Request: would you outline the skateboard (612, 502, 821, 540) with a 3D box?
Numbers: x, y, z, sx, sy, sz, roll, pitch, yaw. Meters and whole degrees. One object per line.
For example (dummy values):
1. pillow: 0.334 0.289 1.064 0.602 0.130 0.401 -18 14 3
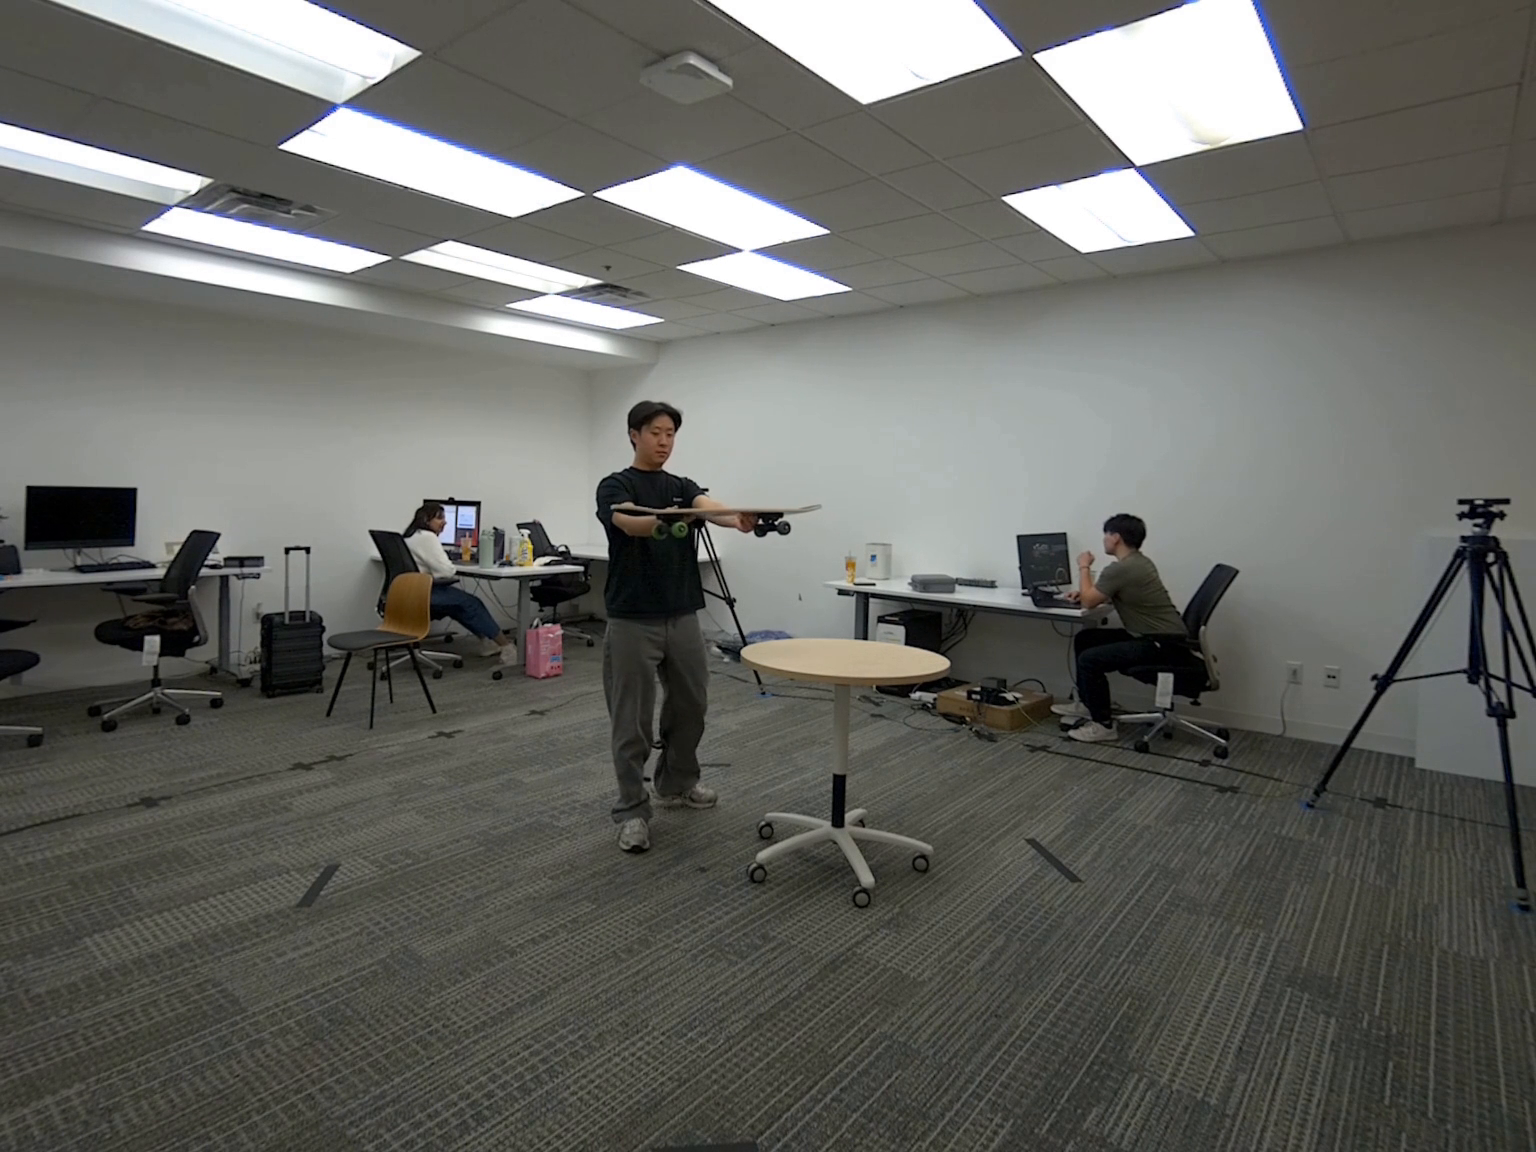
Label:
1. skateboard: -0.151 -0.191 2.896 0.765 0.110 0.198 -3 1 -29
